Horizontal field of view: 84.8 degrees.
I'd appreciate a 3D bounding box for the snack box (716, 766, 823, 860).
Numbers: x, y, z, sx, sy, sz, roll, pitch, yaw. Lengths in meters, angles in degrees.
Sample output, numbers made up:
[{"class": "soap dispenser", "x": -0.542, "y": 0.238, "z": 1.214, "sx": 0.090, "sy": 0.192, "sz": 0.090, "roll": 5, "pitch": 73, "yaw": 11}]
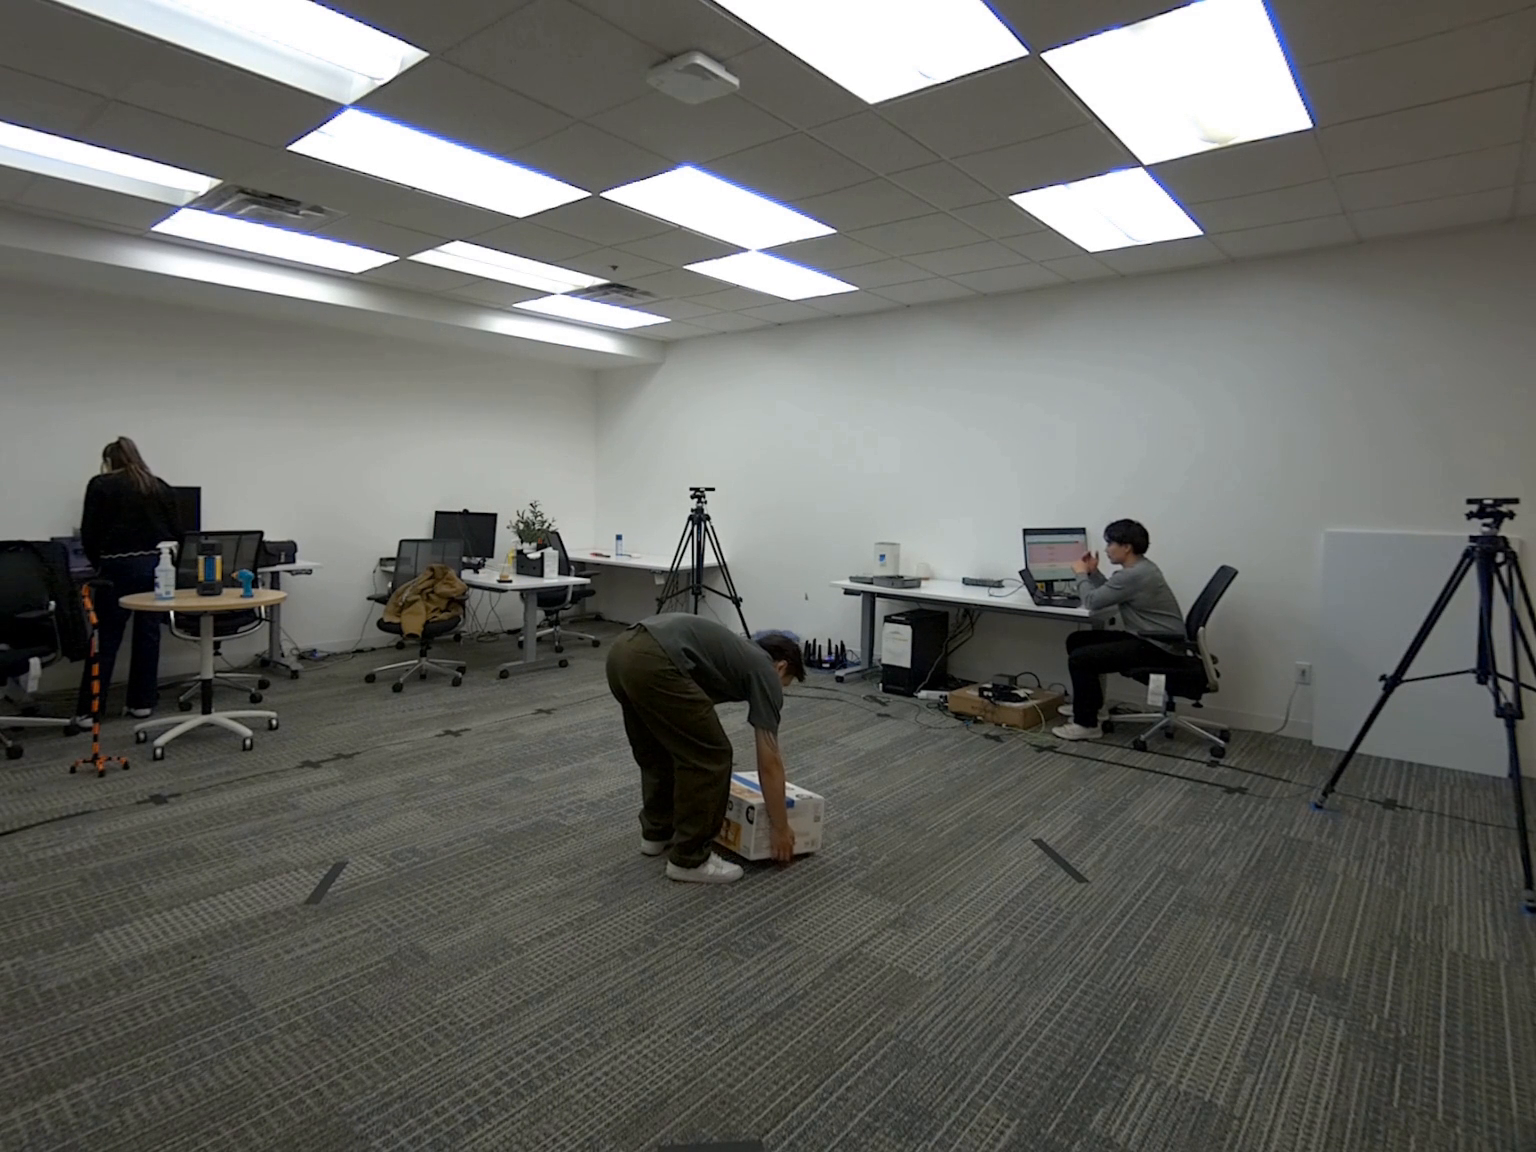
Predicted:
[{"class": "snack box", "x": -0.057, "y": 0.915, "z": 3.306, "sx": 0.329, "sy": 0.206, "sz": 0.418, "roll": 4, "pitch": 1, "yaw": -36}]
